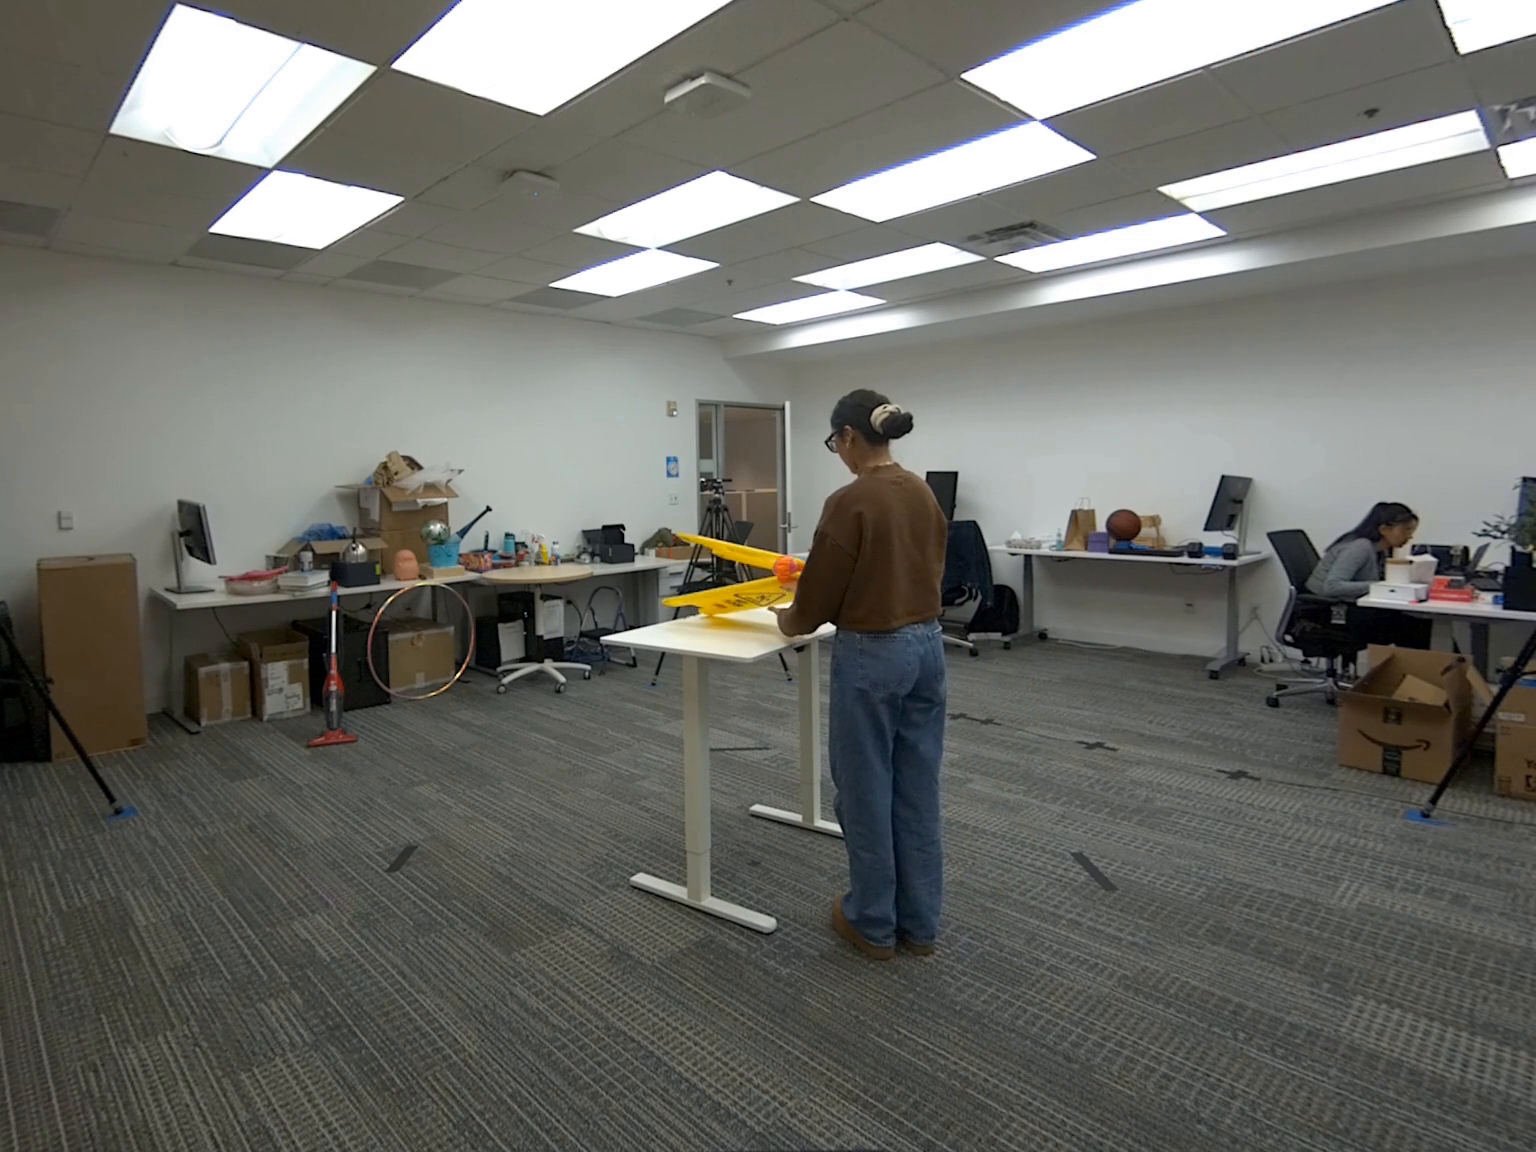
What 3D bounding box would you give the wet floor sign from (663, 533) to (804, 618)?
[{"bbox_3d":[-0.014,0.001,2.962,0.664,0.293,0.272,-1,-18,40],"label":"wet floor sign"}]
